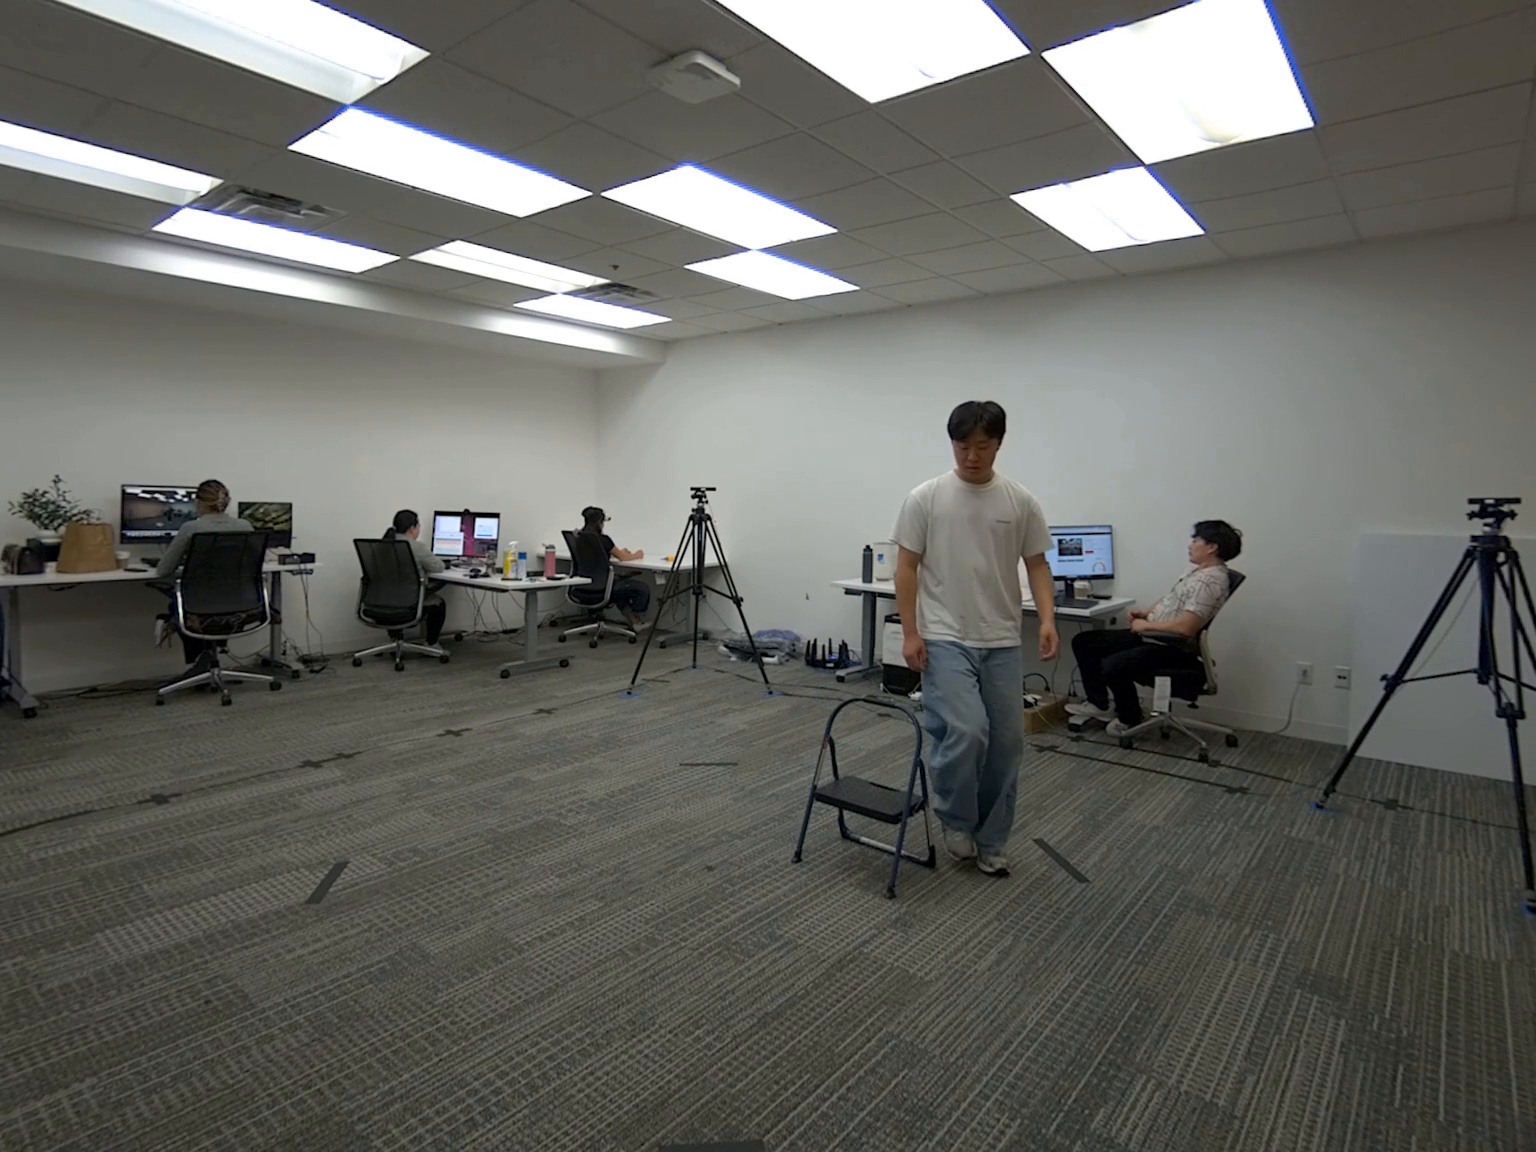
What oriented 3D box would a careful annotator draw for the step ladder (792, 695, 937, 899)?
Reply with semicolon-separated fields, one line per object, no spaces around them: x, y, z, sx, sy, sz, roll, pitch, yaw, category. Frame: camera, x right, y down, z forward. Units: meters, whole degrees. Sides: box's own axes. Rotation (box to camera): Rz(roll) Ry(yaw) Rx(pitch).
0.359;0.770;3.162;0.445;0.604;0.339;5;5;39;step ladder
